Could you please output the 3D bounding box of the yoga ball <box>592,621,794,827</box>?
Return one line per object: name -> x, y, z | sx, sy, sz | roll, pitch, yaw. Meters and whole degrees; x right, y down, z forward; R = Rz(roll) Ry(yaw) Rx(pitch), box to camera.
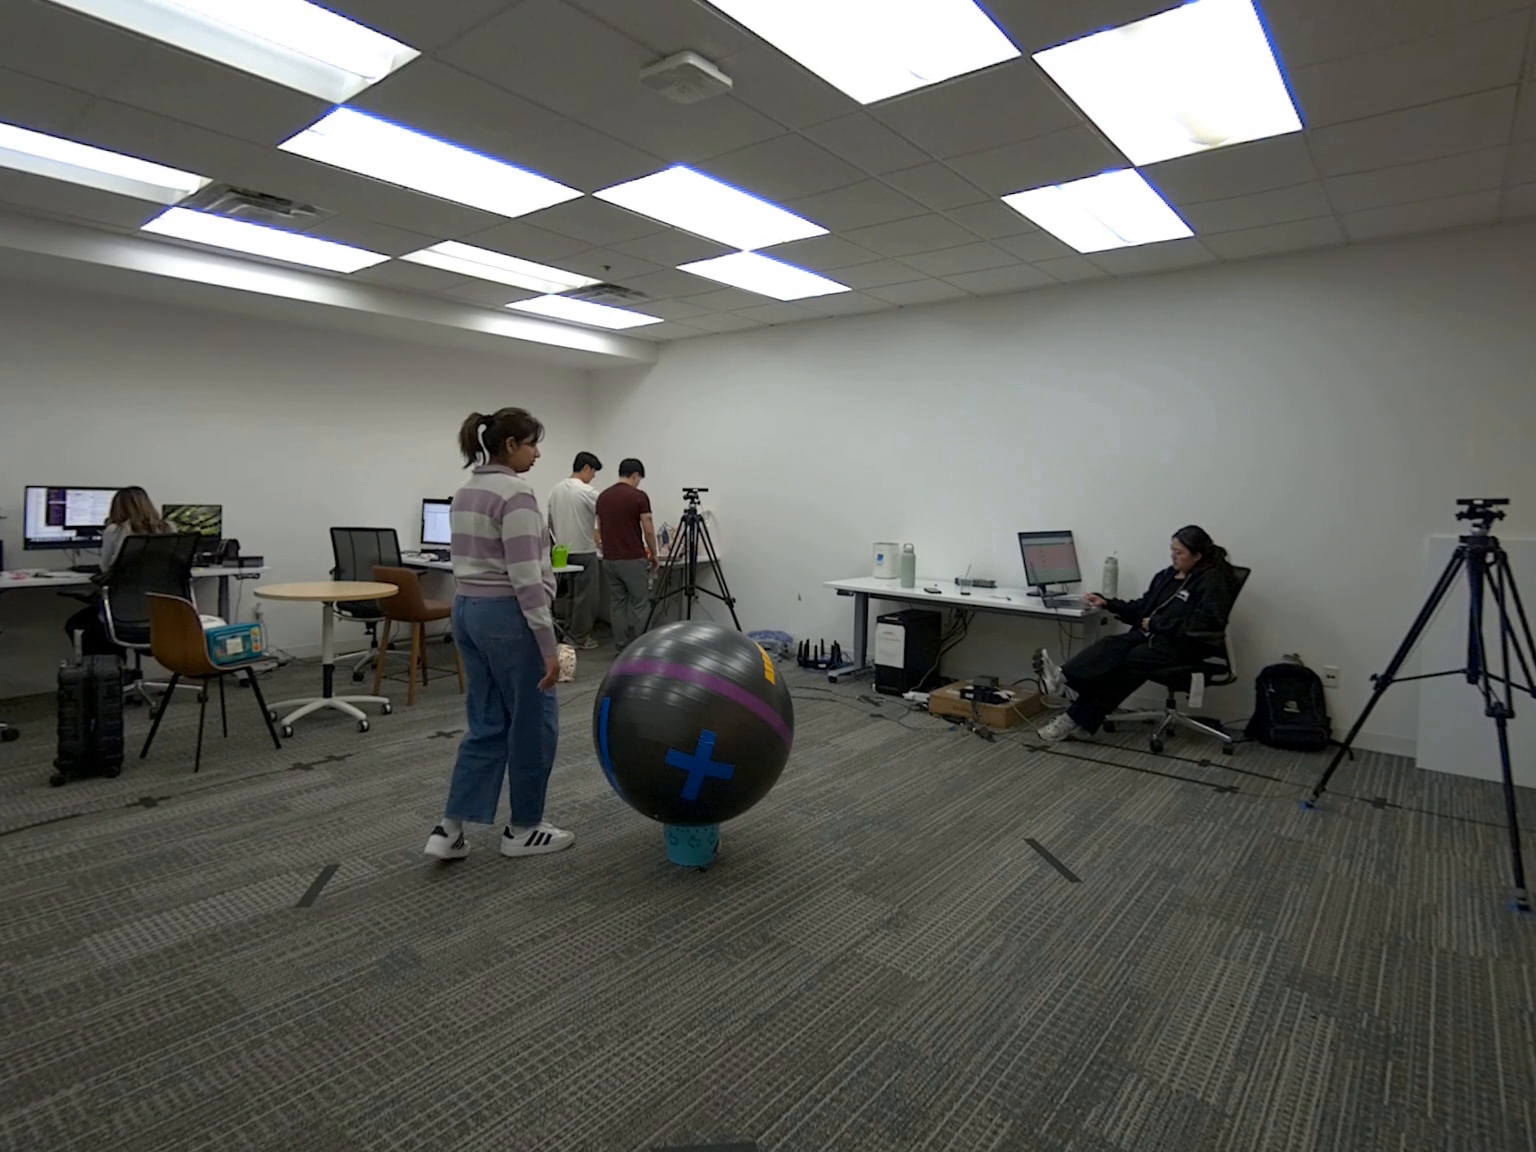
yoga ball -> -0.292, 0.551, 3.204 | 0.757, 0.756, 0.762 | 1, 4, -2
